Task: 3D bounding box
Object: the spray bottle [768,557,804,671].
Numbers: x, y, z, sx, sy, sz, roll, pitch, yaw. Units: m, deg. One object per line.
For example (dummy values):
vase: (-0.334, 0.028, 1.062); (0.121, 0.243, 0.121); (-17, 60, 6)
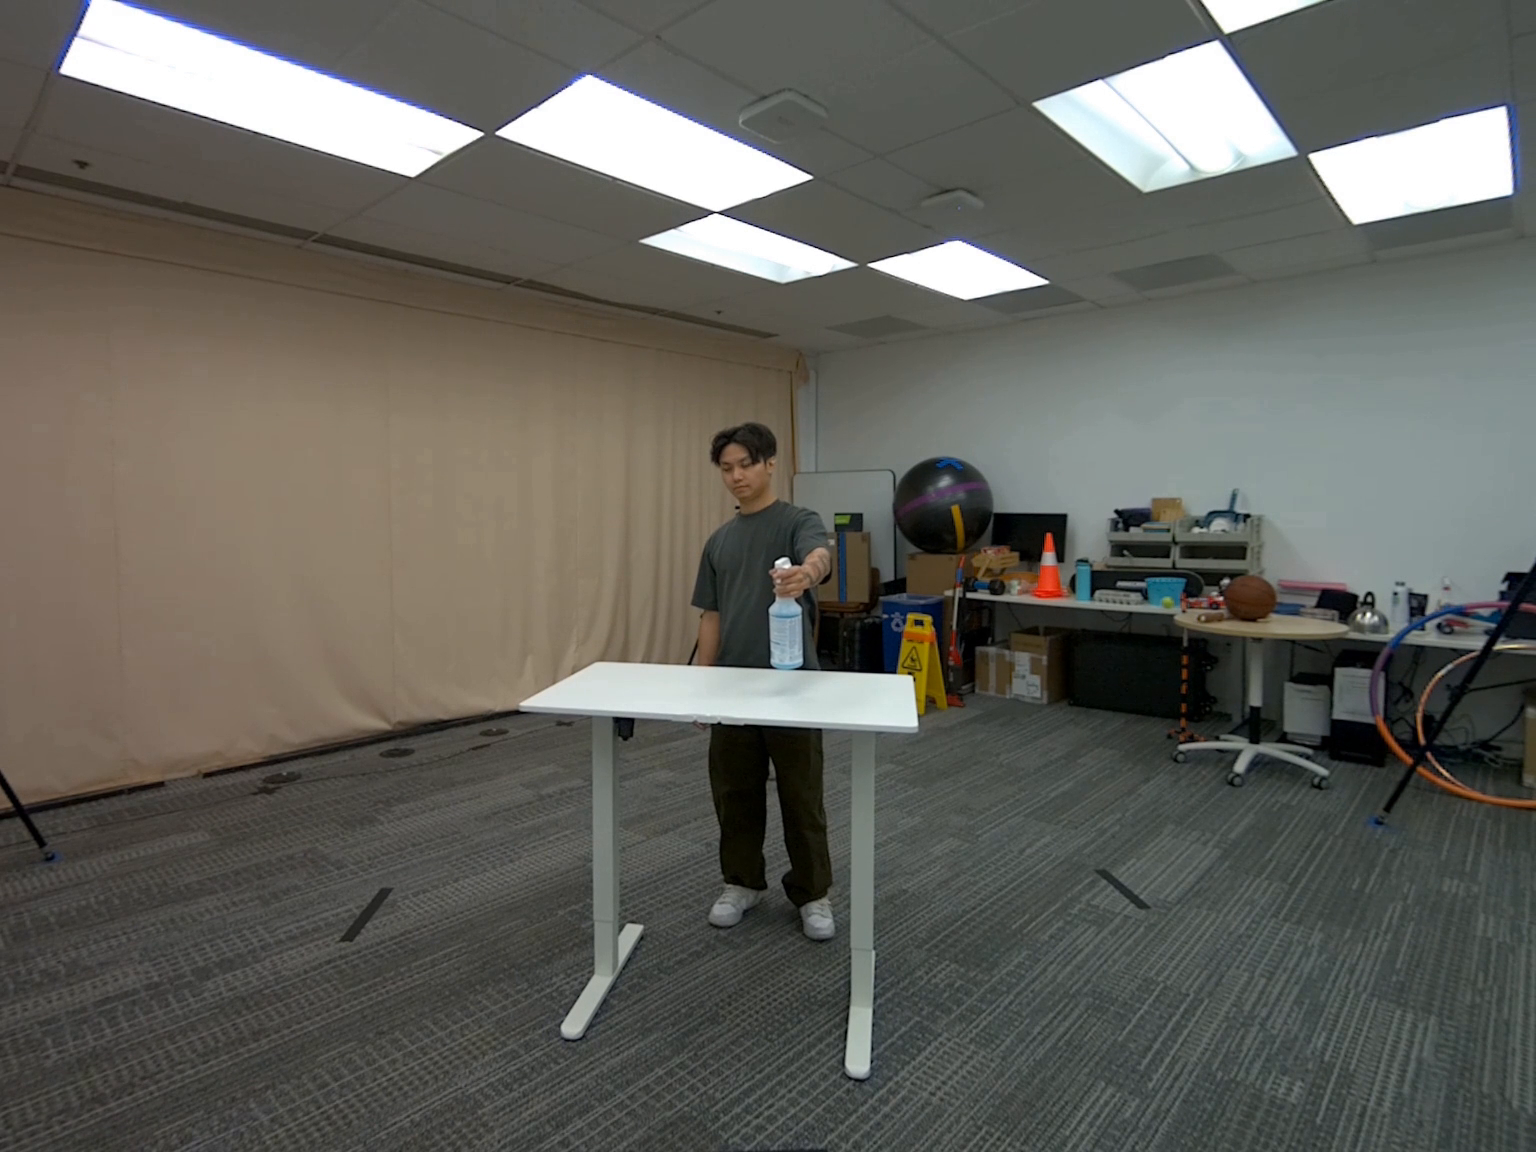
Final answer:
spray bottle: (0.044, 0.099, 2.241); (0.087, 0.295, 0.090); (-13, 18, -42)
